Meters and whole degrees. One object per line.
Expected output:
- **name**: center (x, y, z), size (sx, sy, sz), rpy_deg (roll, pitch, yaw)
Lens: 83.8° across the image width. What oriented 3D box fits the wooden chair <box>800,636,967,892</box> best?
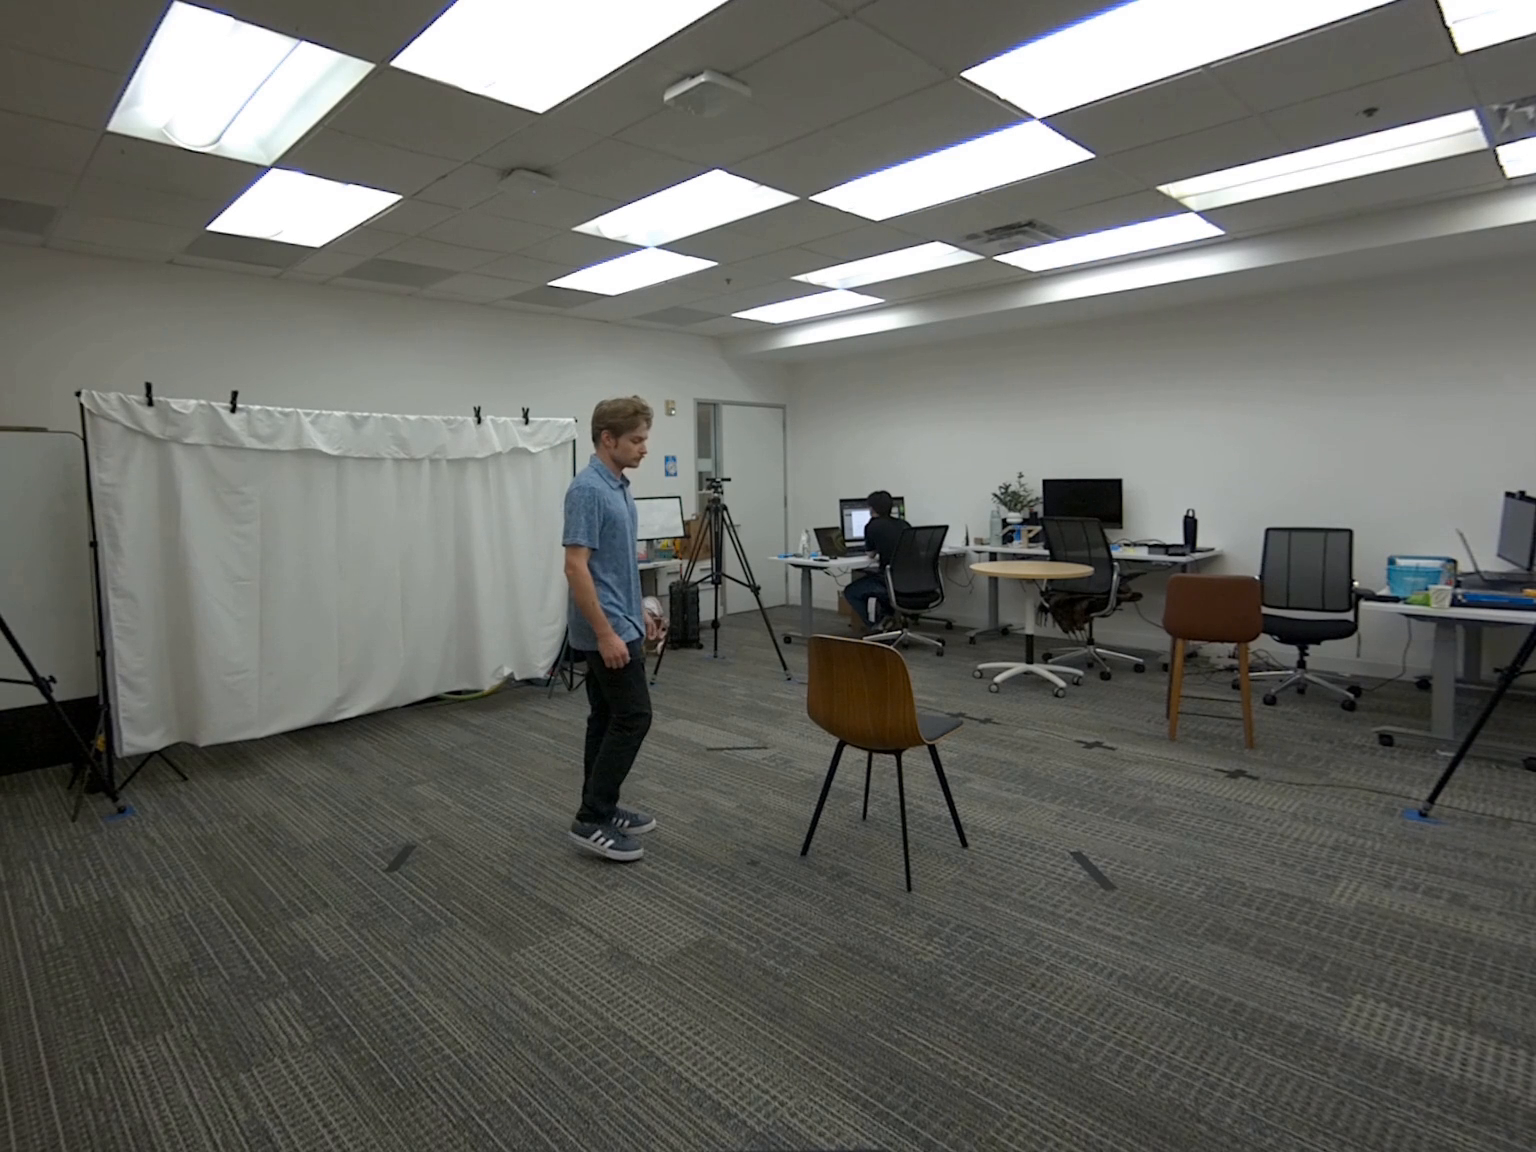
- **wooden chair**: center (0.432, 0.597, 3.153), size (0.492, 0.871, 0.511), rpy_deg (2, 10, 39)
